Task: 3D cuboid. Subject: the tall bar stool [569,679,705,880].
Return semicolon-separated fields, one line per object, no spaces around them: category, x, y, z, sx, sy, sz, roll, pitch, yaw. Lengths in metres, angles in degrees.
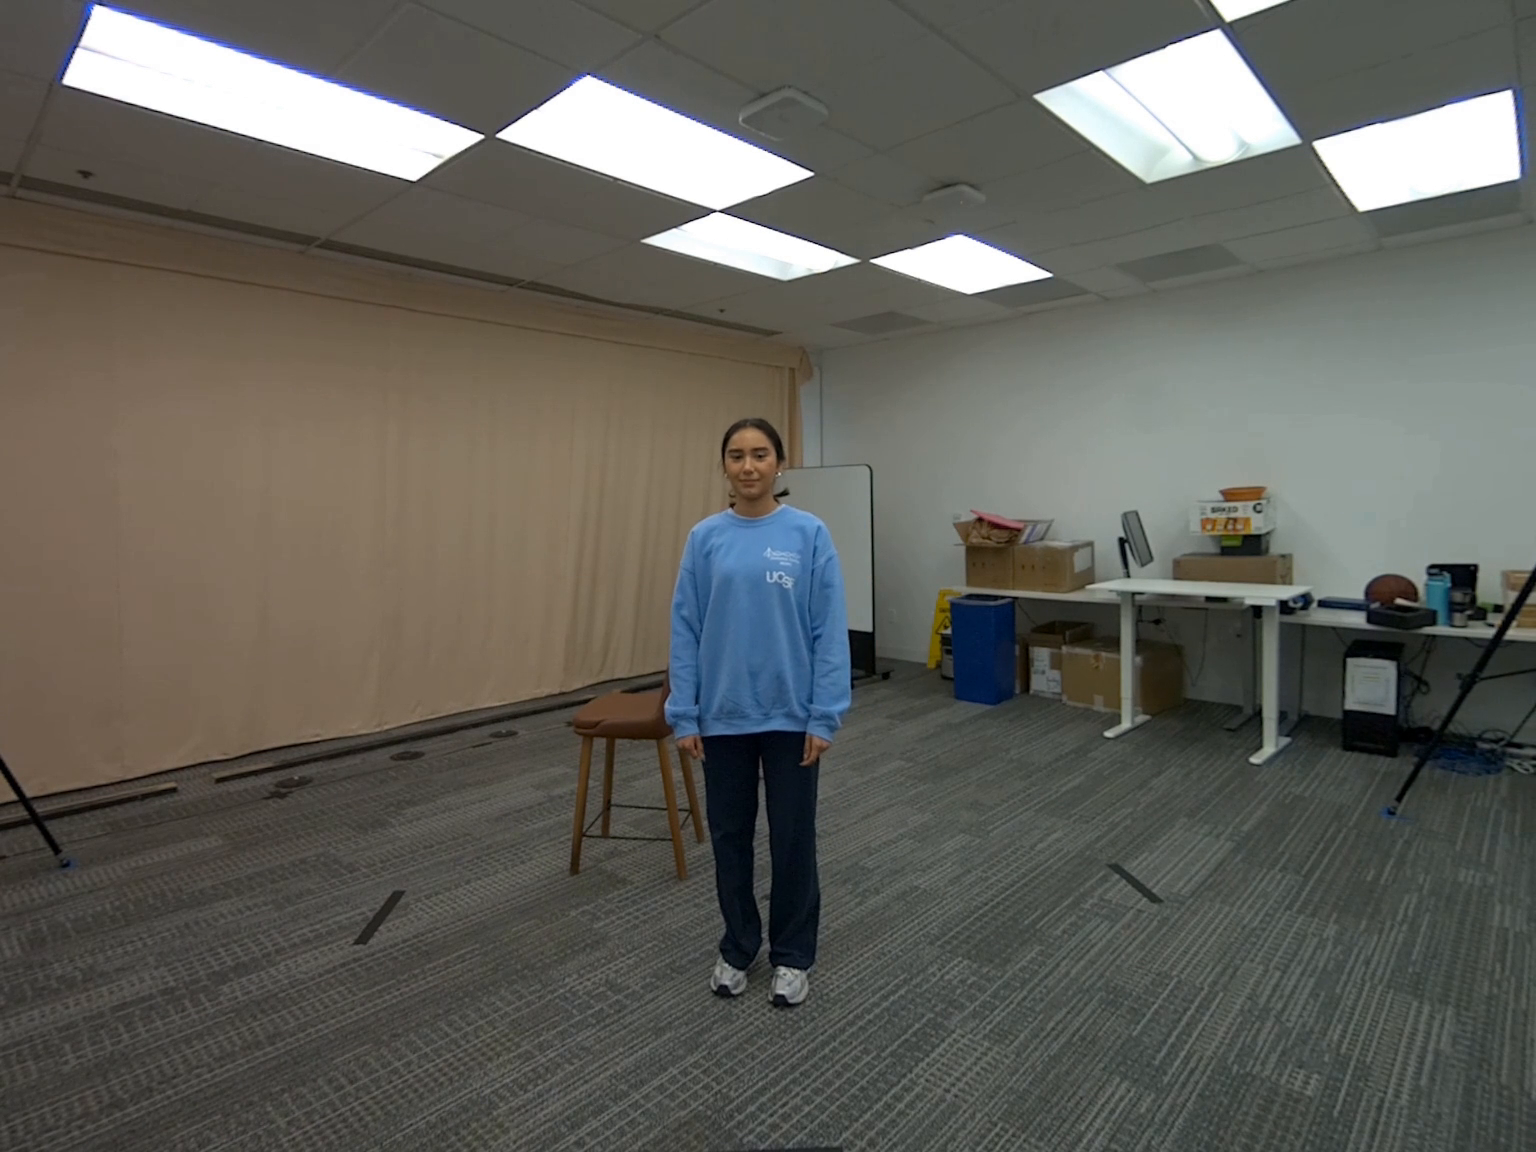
tall bar stool;-0.512;0.689;3.337;0.473;0.888;0.452;1;3;10
